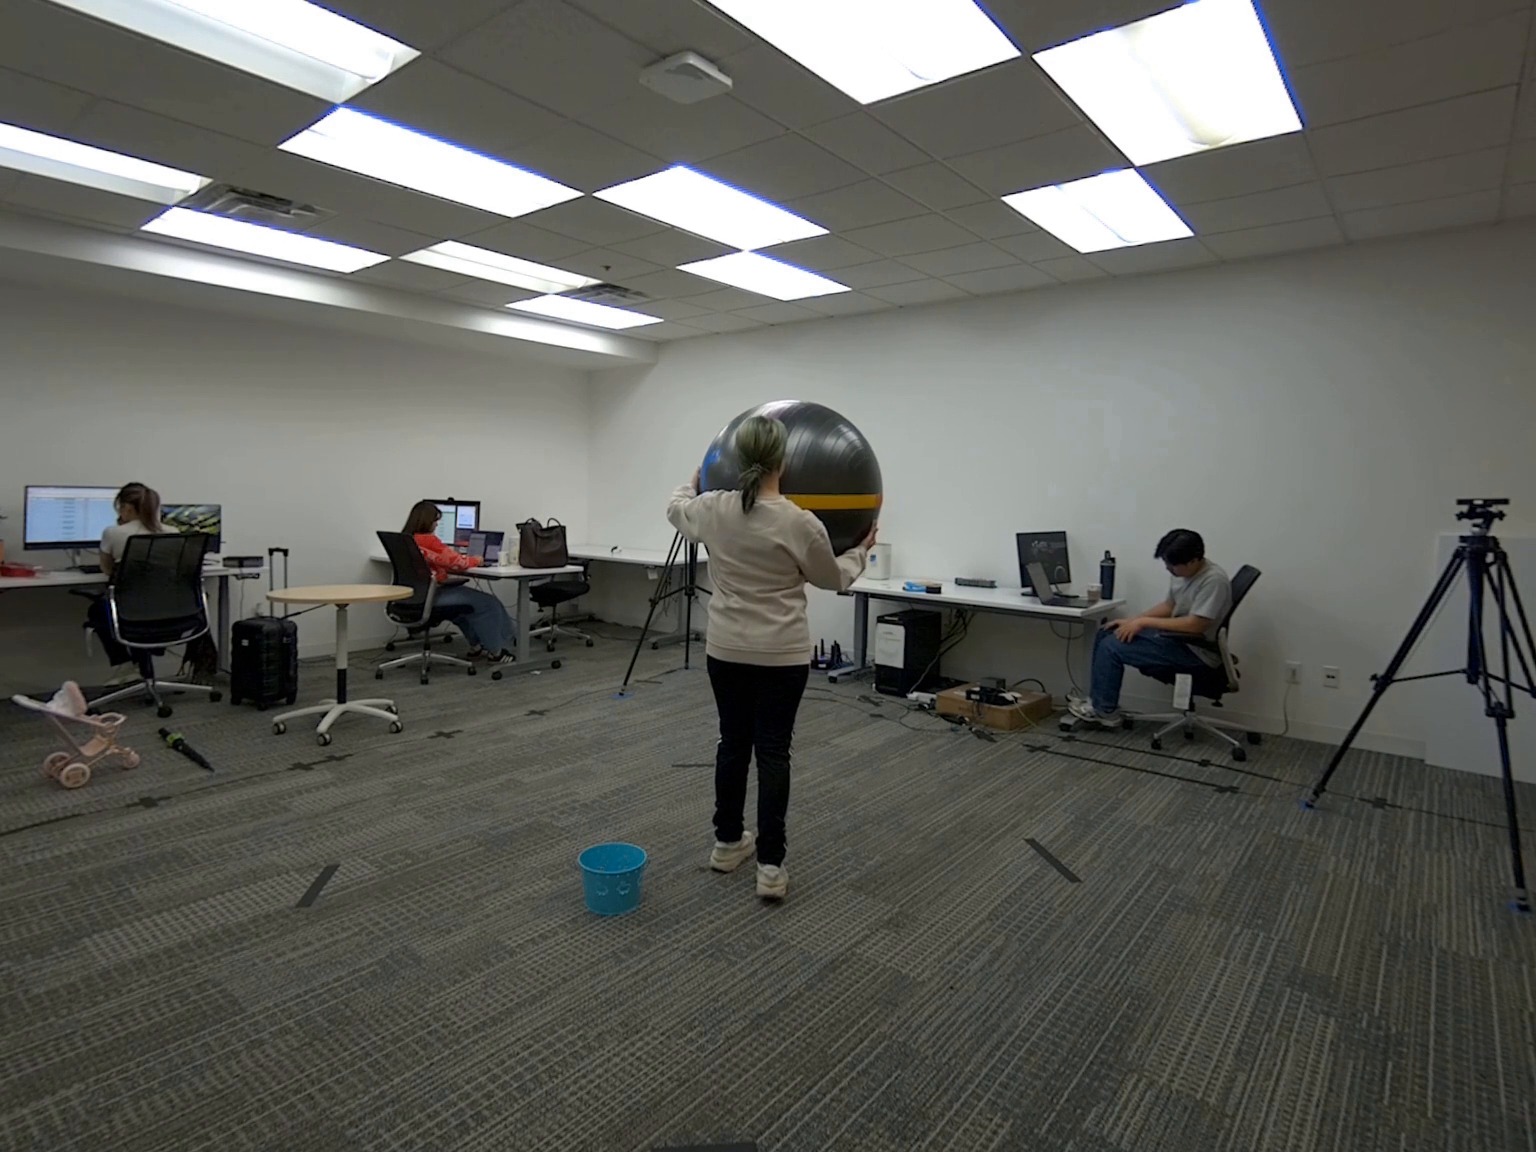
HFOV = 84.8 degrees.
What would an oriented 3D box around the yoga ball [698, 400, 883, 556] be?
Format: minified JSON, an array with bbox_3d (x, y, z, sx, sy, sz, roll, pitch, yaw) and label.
[{"bbox_3d":[0.081,-0.341,3.520,0.757,0.756,0.761,1,4,-2],"label":"yoga ball"}]
